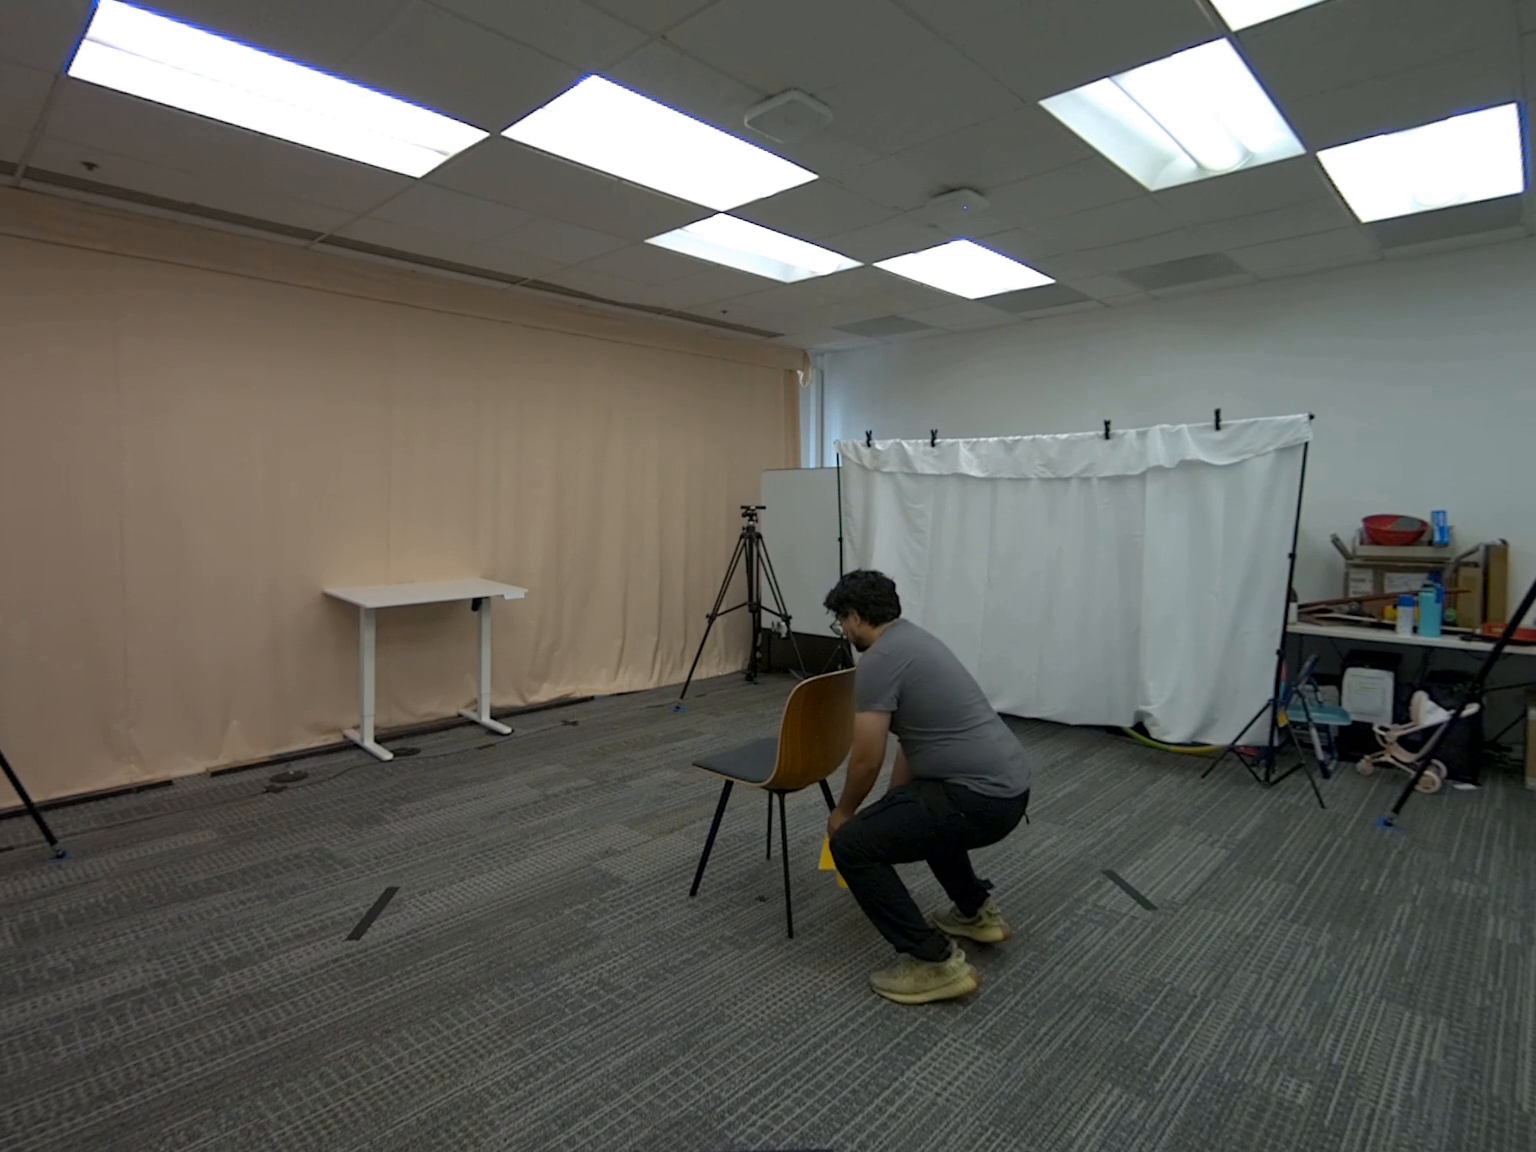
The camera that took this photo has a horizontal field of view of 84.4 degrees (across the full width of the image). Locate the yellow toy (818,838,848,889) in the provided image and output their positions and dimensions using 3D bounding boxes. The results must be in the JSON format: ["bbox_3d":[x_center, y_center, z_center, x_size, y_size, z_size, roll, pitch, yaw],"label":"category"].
[{"bbox_3d":[0.299,0.890,2.763,0.209,0.231,0.188,-21,-2,43],"label":"yellow toy"}]
